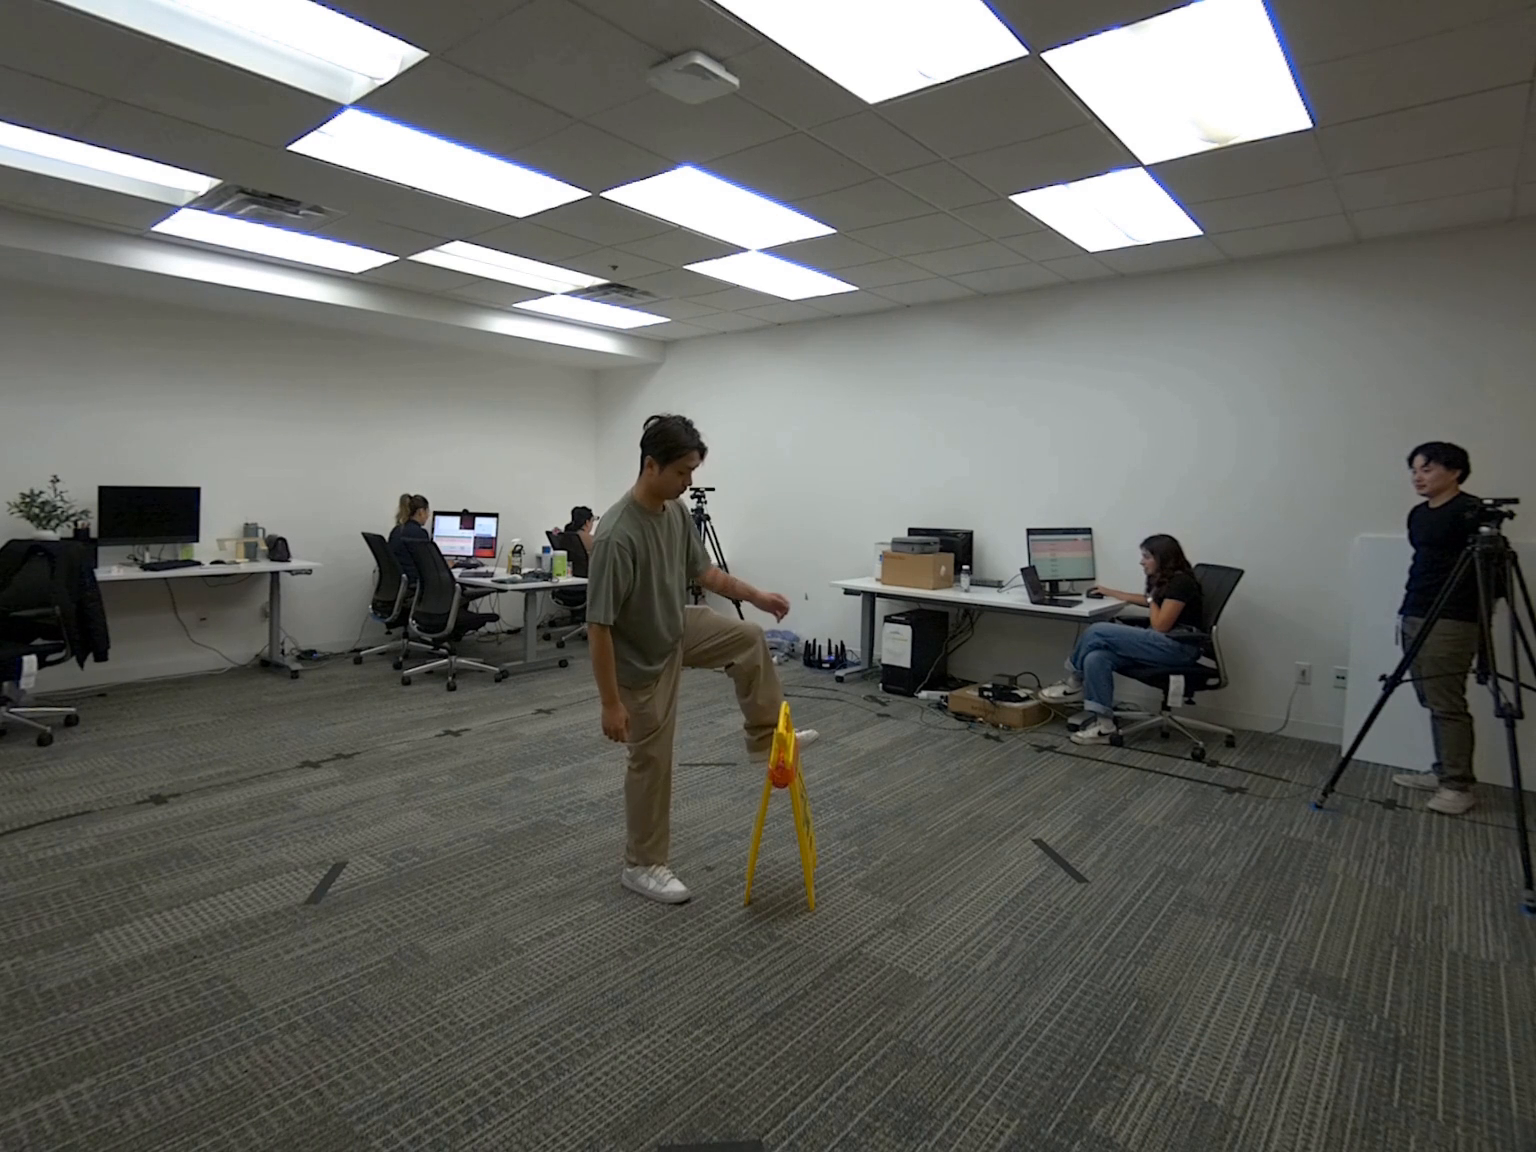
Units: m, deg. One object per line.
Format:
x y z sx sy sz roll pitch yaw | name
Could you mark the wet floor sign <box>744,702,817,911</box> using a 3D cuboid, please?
0.049 0.759 2.845 0.291 0.634 0.286 2 22 3 | wet floor sign
